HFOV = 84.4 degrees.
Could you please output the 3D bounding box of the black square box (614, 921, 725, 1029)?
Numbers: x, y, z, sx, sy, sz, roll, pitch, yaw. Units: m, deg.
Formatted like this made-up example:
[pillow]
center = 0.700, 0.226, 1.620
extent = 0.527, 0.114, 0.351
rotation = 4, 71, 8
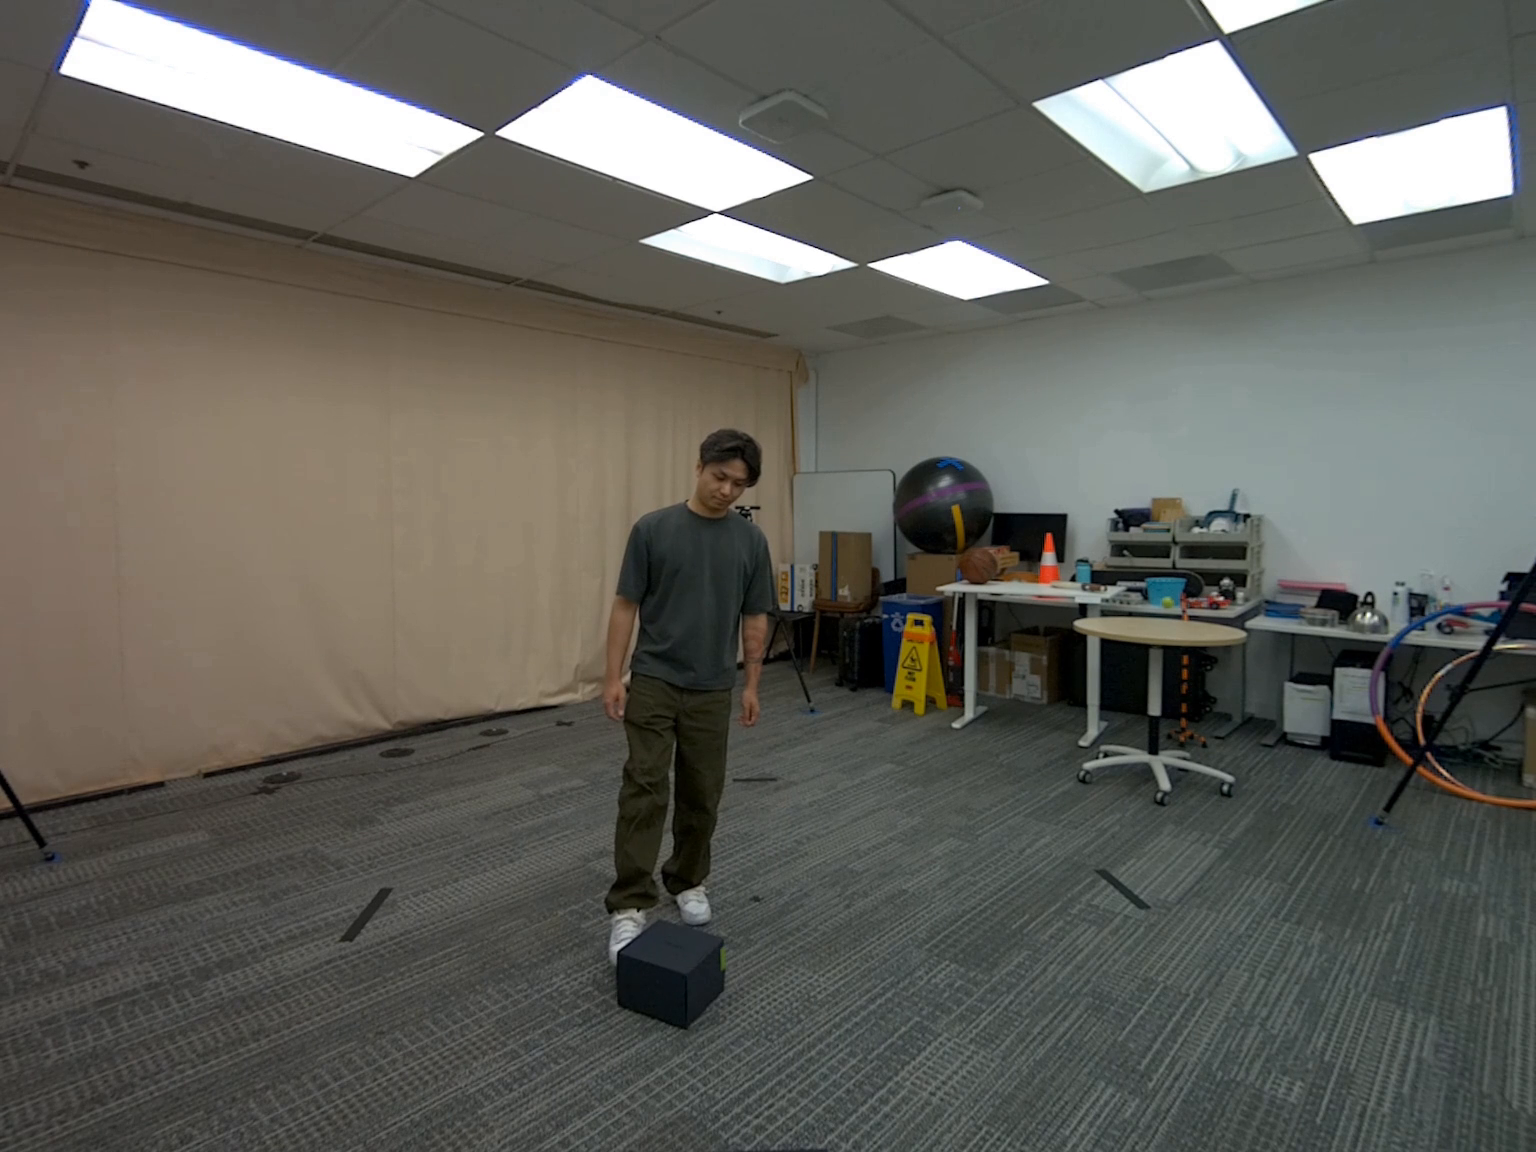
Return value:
[black square box]
center = -0.267, 1.112, 2.375
extent = 0.234, 0.155, 0.212
rotation = 2, 5, 27
